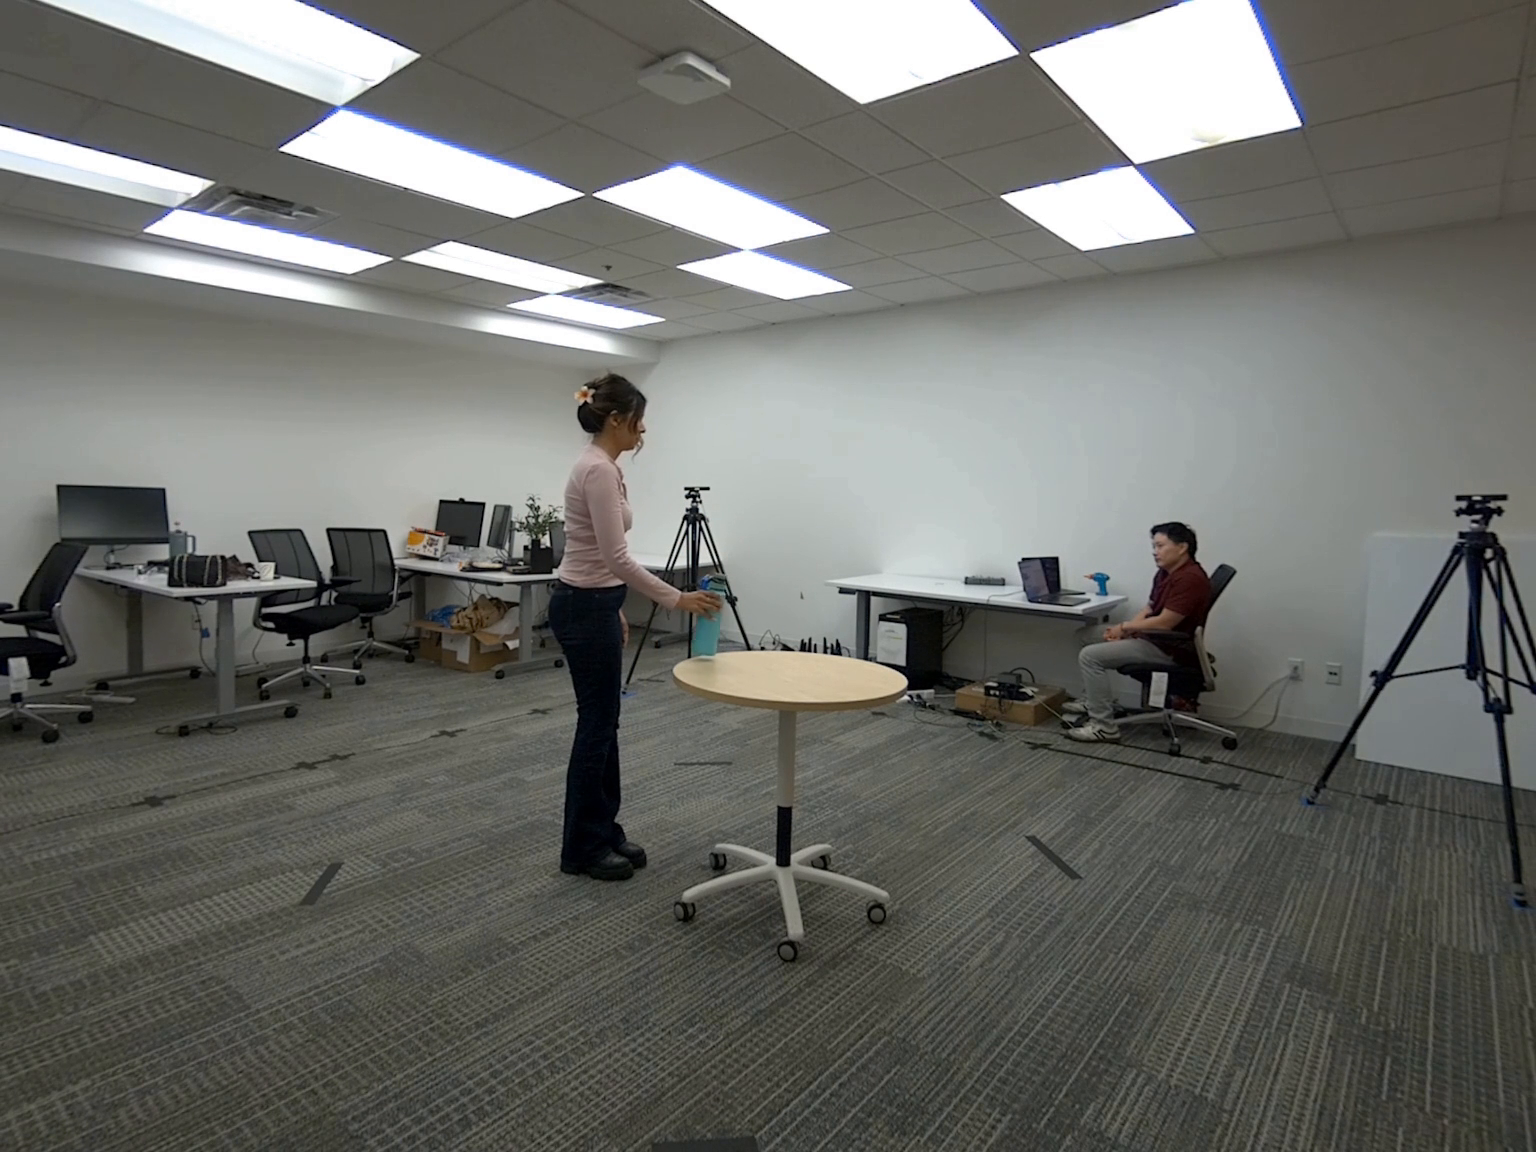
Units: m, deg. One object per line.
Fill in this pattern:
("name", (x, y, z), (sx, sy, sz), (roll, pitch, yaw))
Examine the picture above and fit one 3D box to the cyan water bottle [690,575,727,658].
("cyan water bottle", (-0.217, 0.135, 2.965), (0.092, 0.283, 0.092), (7, 1, -2))
